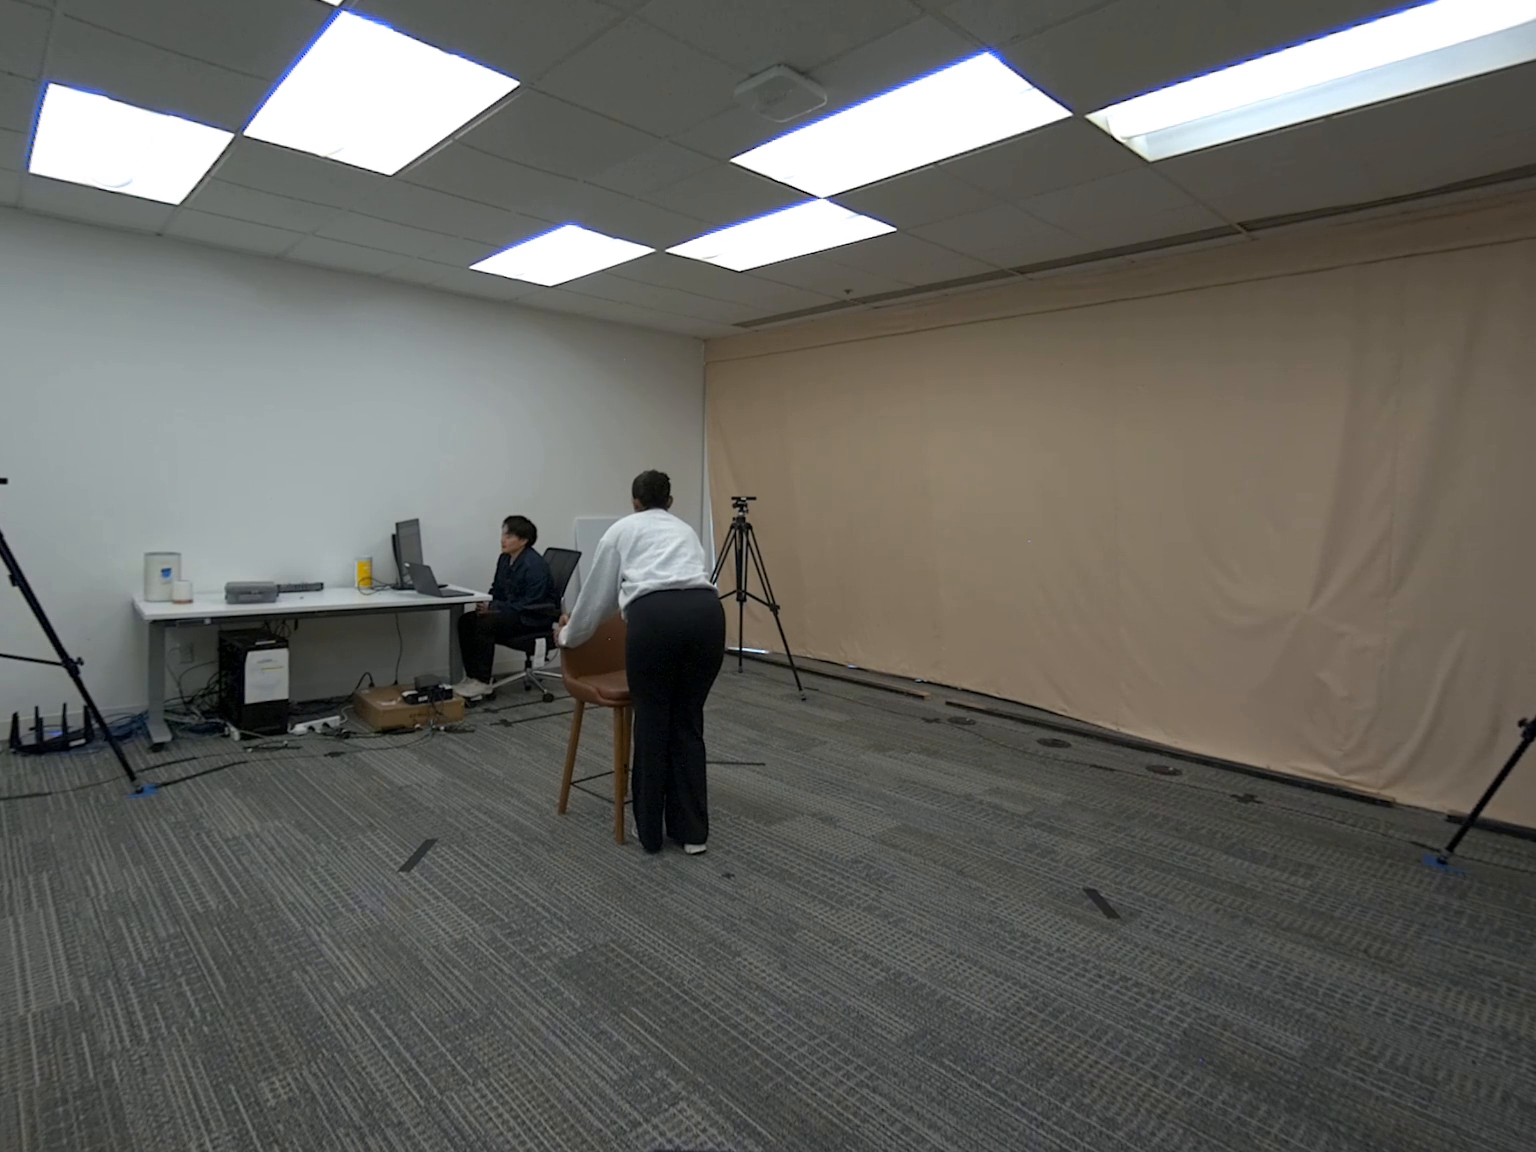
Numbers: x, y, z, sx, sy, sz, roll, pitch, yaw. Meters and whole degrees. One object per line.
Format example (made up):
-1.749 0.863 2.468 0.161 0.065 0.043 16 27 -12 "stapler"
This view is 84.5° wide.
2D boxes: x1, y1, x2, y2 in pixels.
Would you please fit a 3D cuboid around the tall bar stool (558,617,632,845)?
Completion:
-0.629 0.600 3.643 0.479 0.889 0.446 0 1 43 "tall bar stool"
